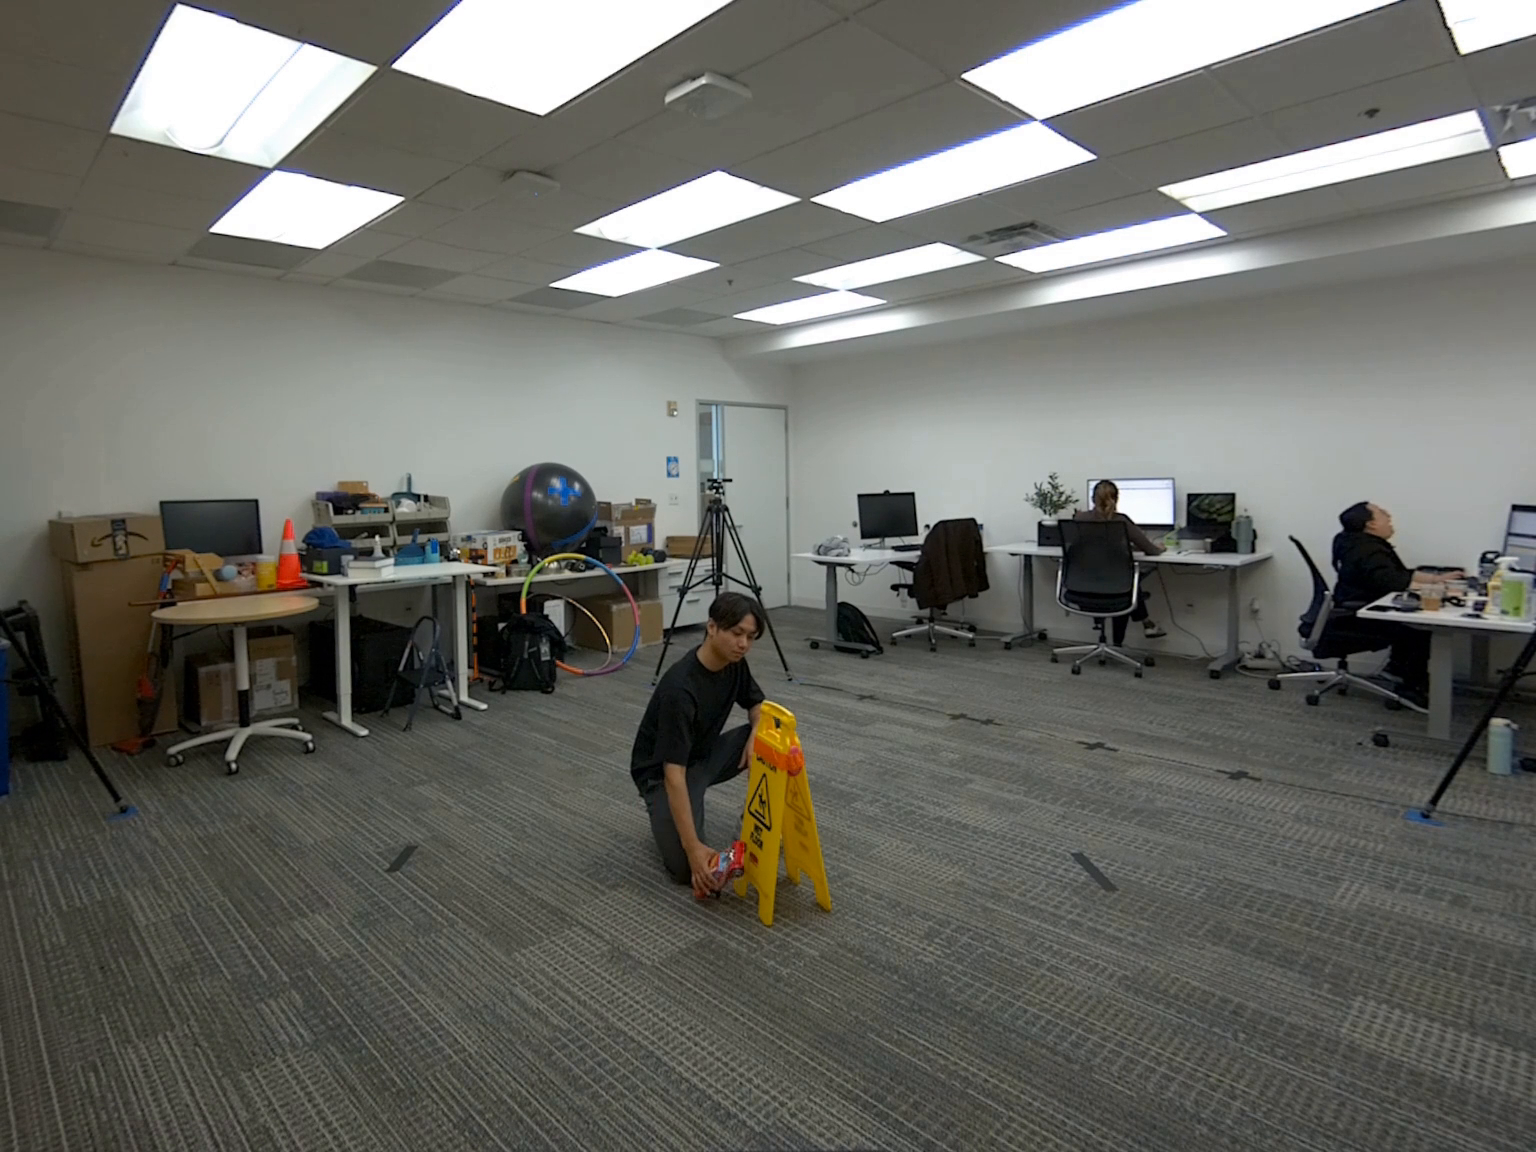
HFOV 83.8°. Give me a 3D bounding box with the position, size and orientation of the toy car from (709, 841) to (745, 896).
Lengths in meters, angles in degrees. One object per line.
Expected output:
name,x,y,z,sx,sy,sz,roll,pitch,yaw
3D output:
toy car,-0.152,0.977,2.814,0.081,0.255,0.133,37,27,-19
